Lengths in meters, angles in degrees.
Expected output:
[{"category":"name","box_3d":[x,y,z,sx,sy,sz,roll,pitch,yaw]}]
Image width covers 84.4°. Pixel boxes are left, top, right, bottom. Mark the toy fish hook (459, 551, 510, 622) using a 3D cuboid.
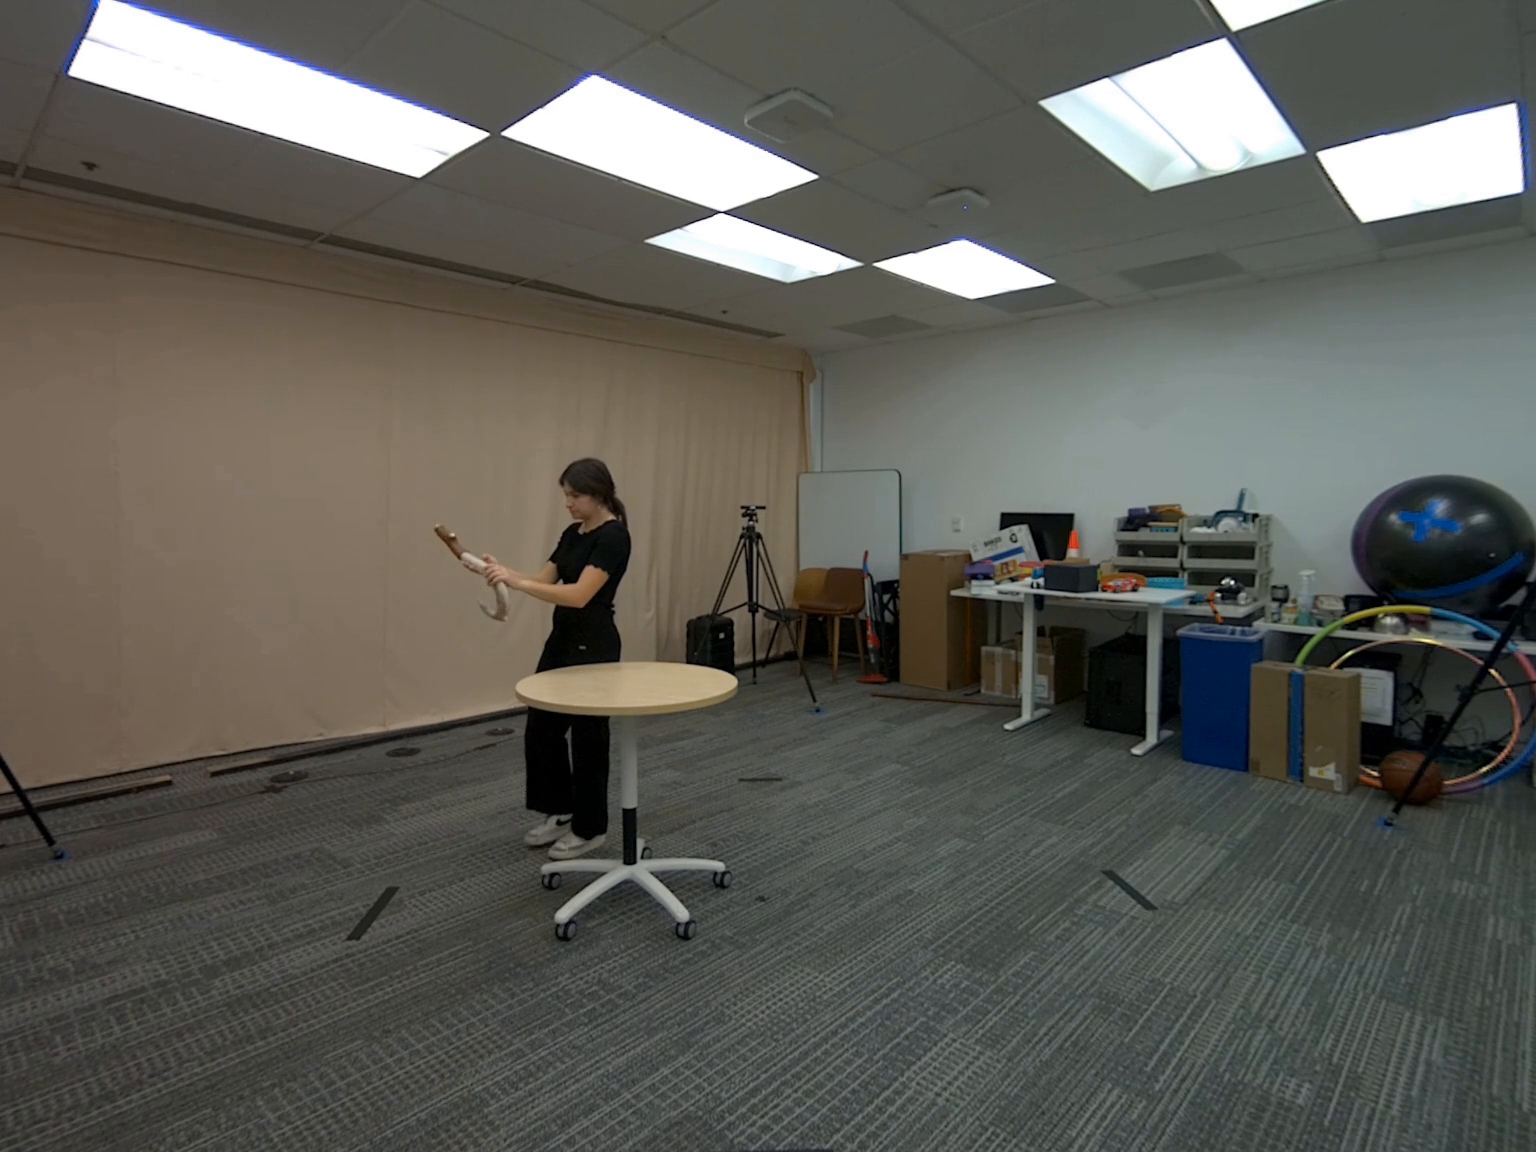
[{"category":"toy fish hook","box_3d":[-1.133,-0.011,3.211,0.523,0.223,0.047,39,35,29]}]
